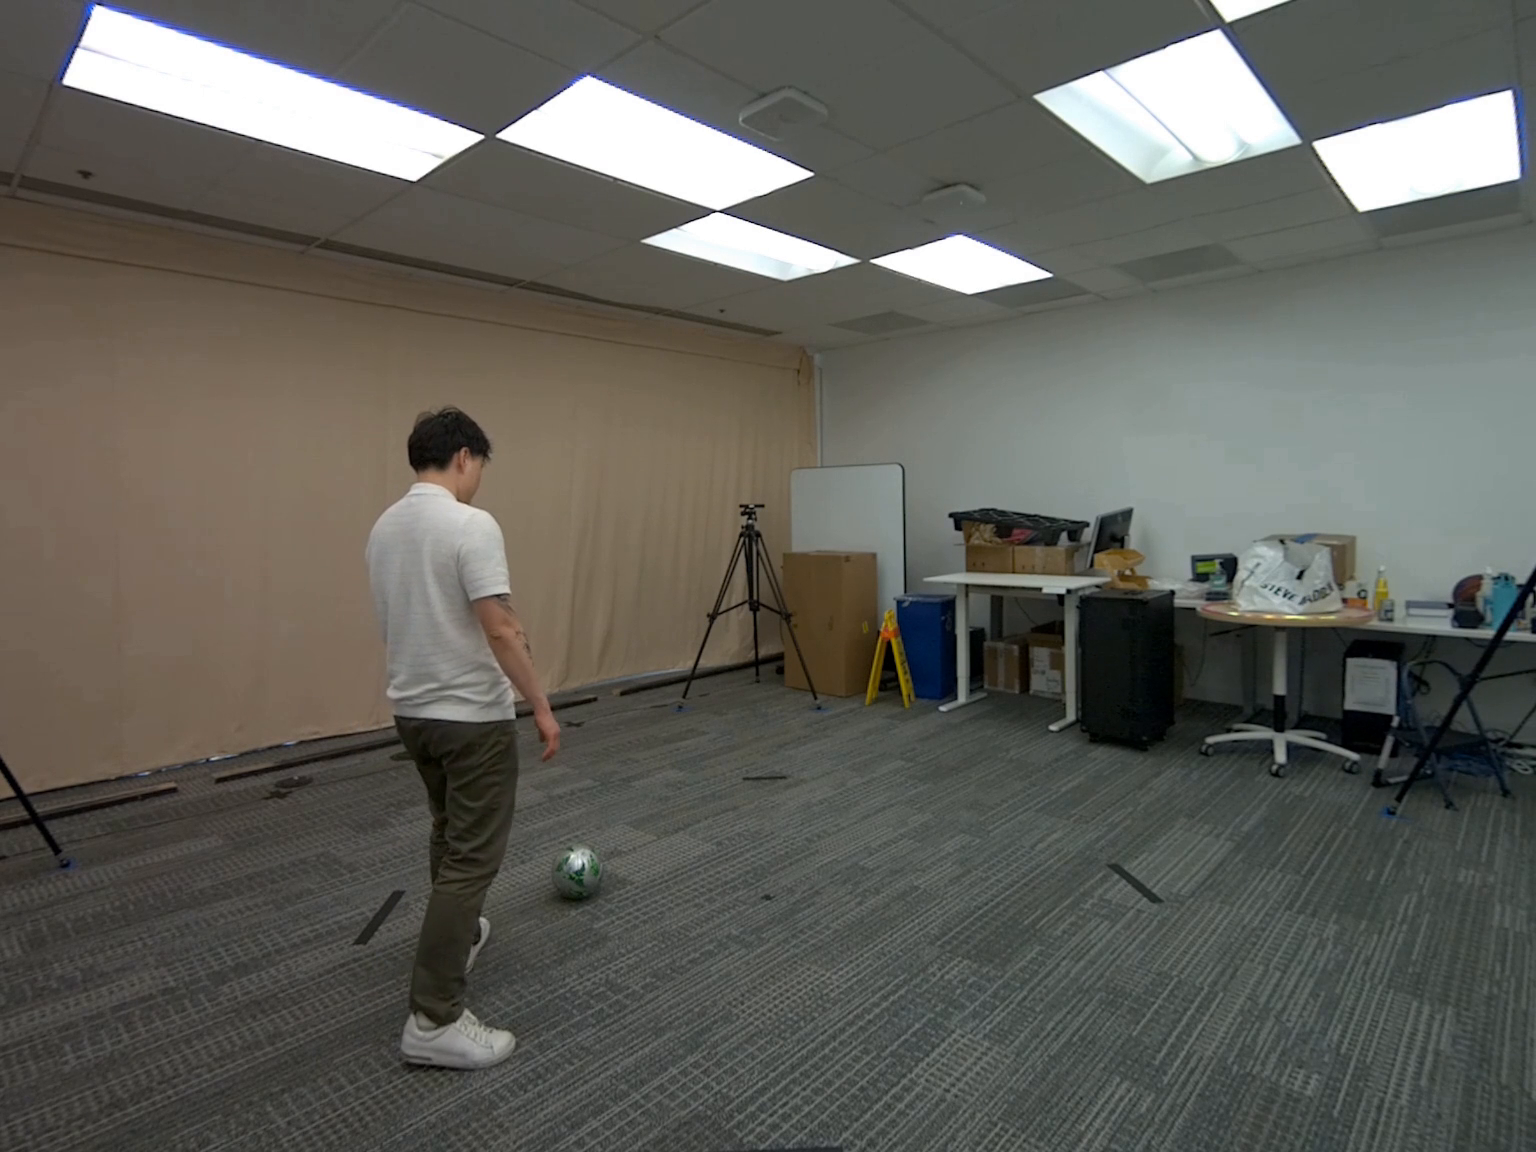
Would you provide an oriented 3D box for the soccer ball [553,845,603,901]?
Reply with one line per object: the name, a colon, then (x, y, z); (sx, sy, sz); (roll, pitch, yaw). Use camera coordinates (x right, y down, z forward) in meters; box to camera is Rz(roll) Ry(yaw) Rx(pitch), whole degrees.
soccer ball: (-0.687, 1.059, 3.022); (0.187, 0.187, 0.188); (-1, 4, -2)
